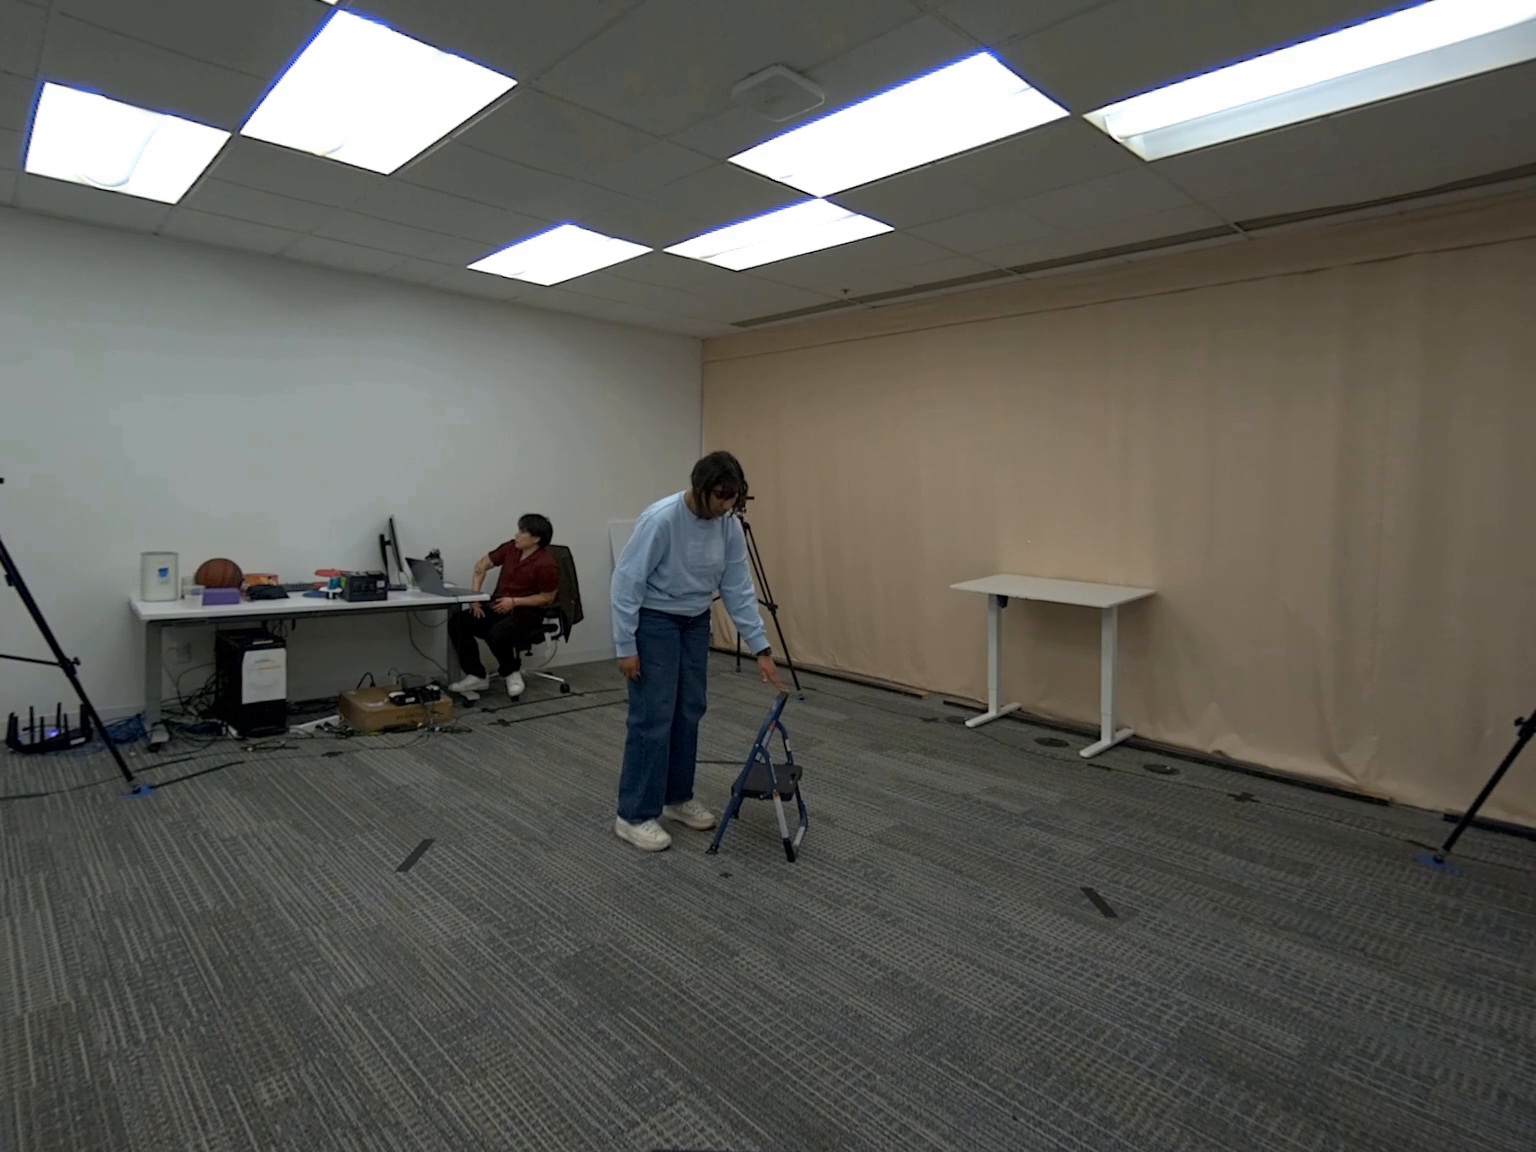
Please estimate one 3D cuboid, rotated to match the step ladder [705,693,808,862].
[{"bbox_3d":[-0.032,0.776,3.444,0.353,0.605,0.427,1,3,11],"label":"step ladder"}]
